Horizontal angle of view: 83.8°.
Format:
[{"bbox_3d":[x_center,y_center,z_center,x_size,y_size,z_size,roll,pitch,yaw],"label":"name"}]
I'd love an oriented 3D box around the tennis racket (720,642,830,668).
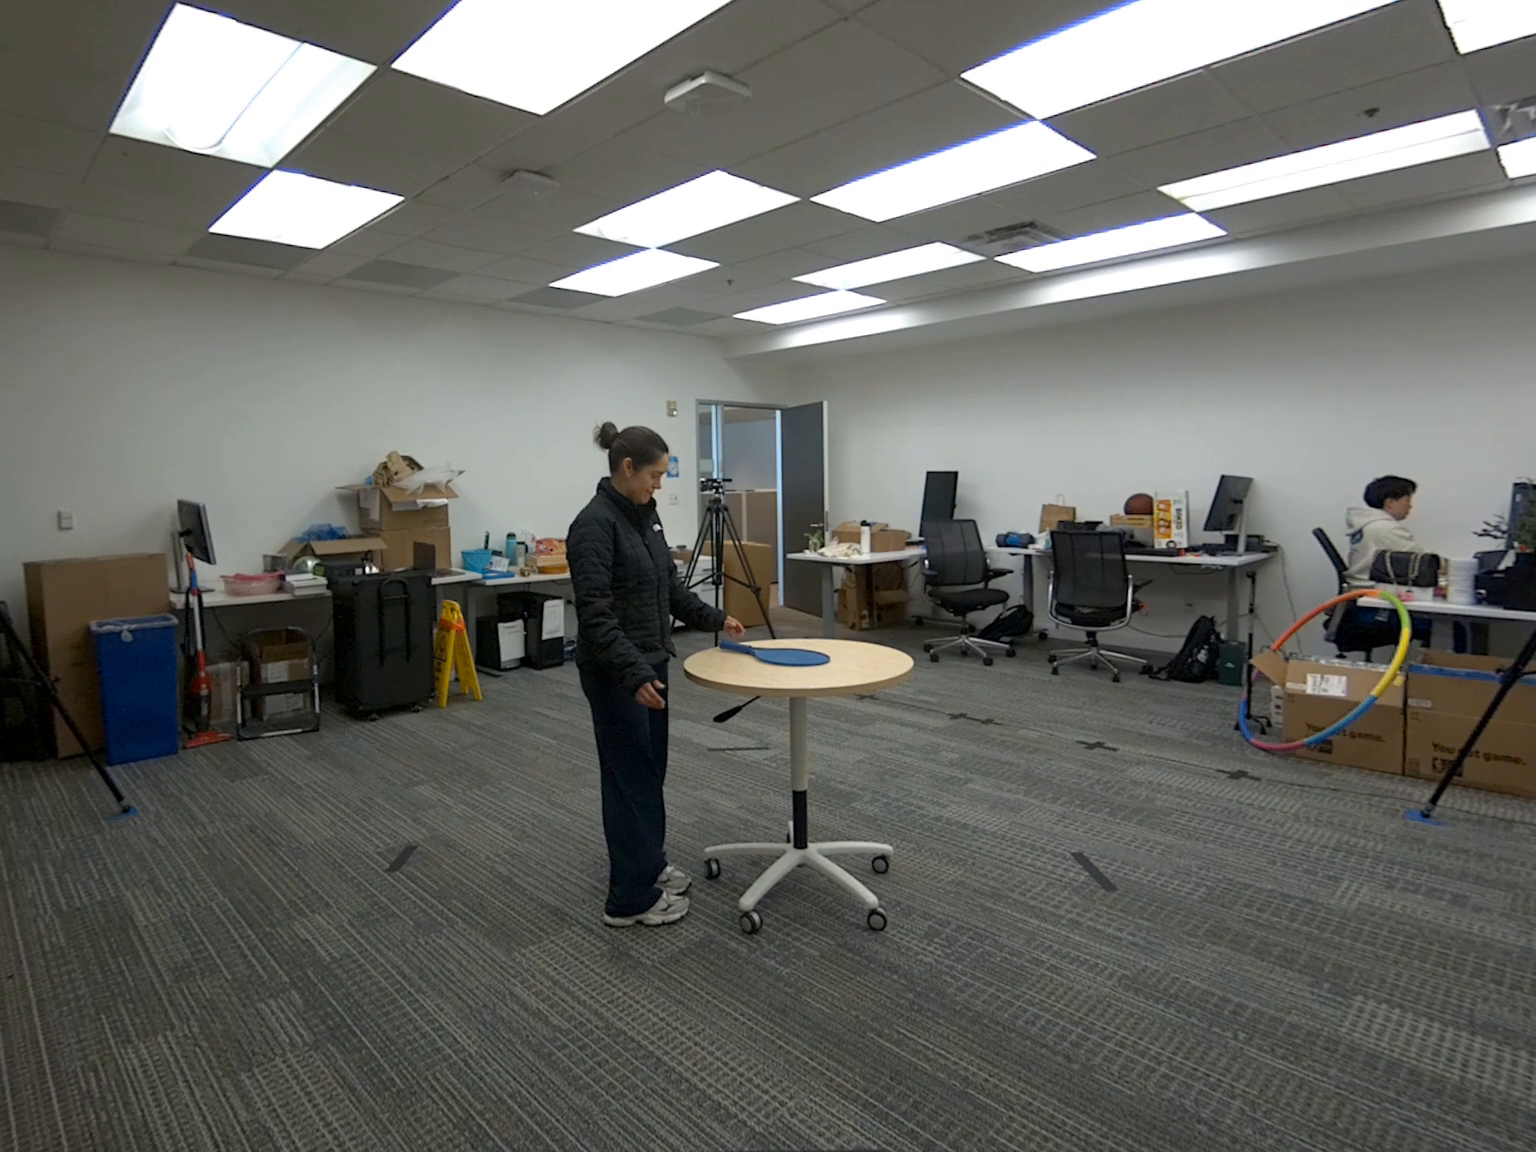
[{"bbox_3d":[0.017,0.266,2.952,0.446,0.031,0.208,6,9,38],"label":"tennis racket"}]
